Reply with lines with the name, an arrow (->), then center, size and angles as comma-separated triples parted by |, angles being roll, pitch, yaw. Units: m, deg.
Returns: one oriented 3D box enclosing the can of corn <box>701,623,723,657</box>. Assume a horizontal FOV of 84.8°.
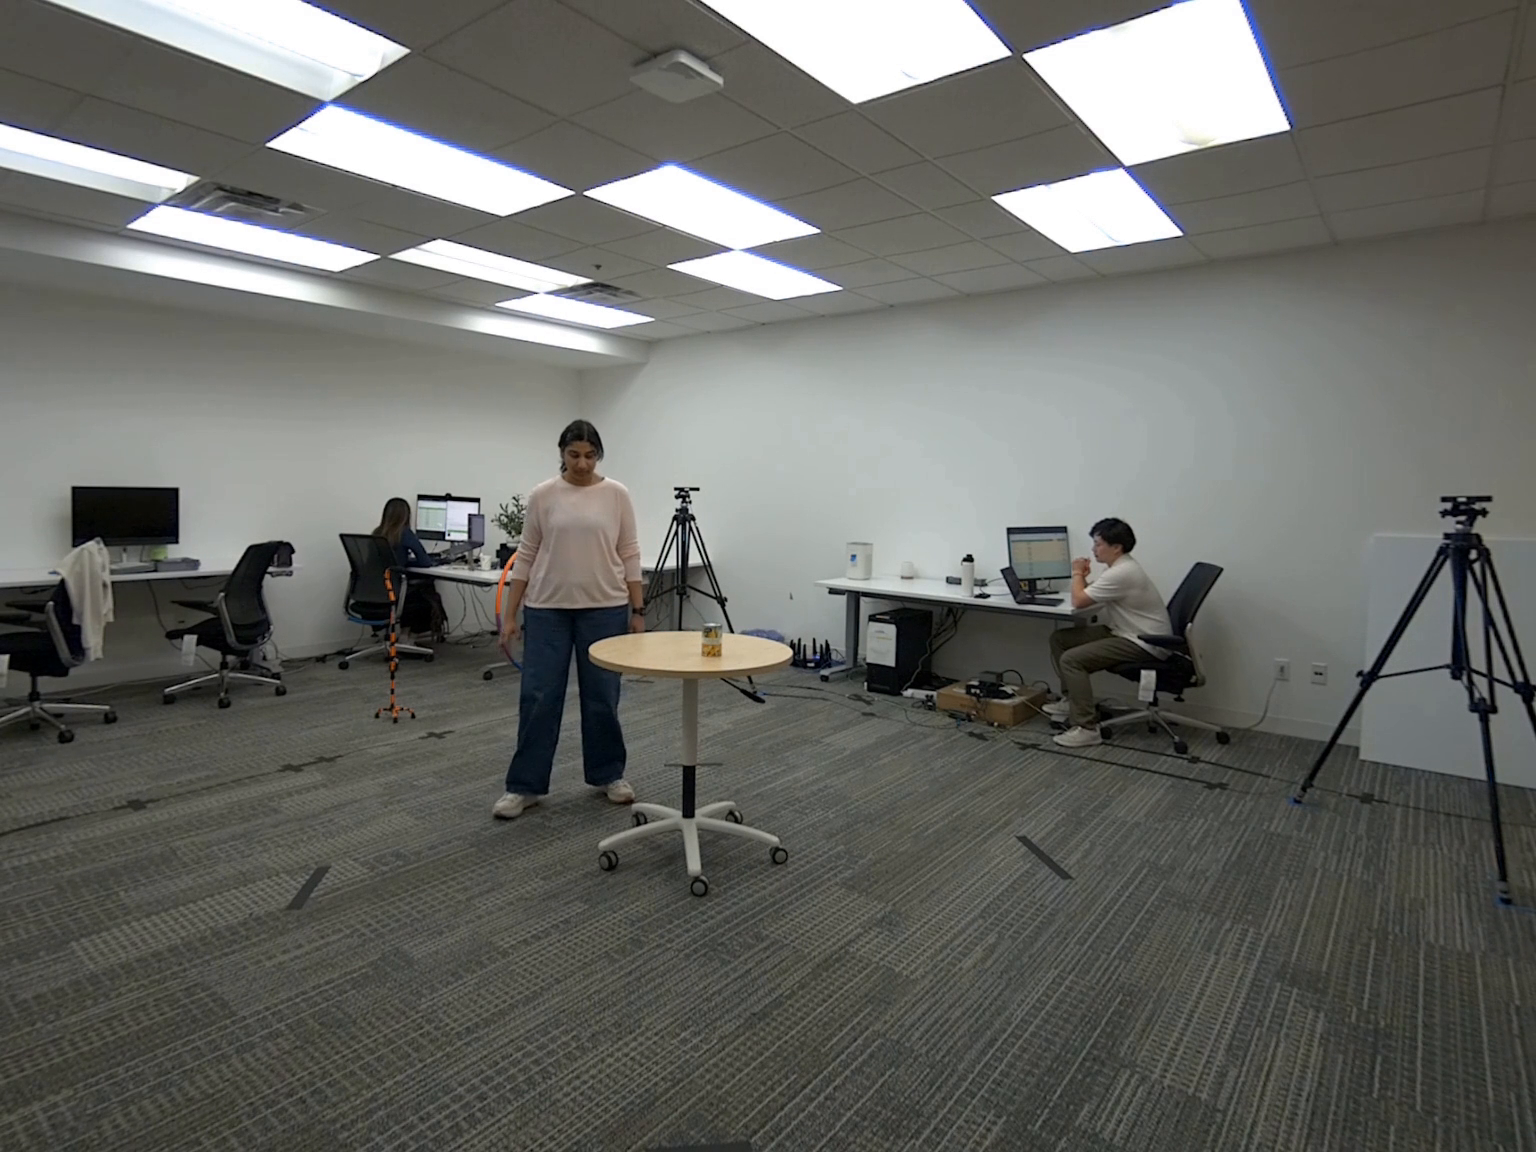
can of corn -> -0.209, 0.231, 3.089 | 0.074, 0.111, 0.074 | 2, 2, -2
